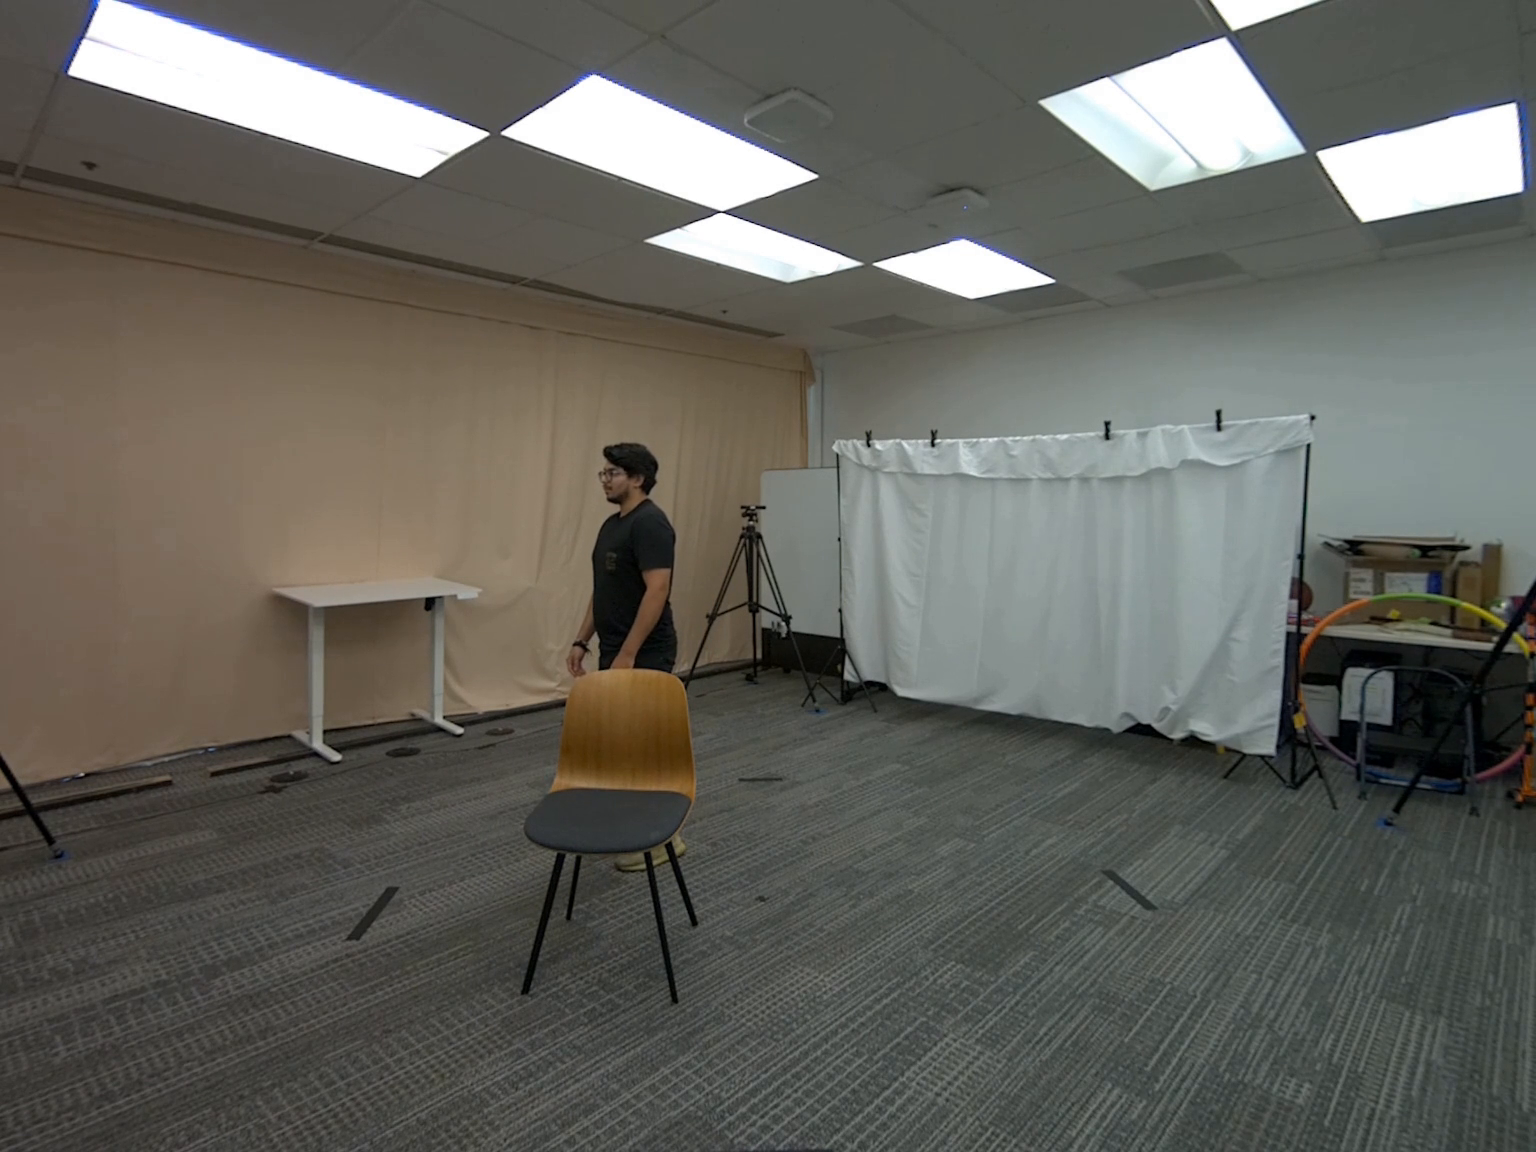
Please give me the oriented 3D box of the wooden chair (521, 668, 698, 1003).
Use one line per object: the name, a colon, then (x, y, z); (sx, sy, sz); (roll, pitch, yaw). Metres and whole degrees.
wooden chair: (-0.459, 0.755, 2.566); (0.481, 0.878, 0.520); (0, -1, 4)
